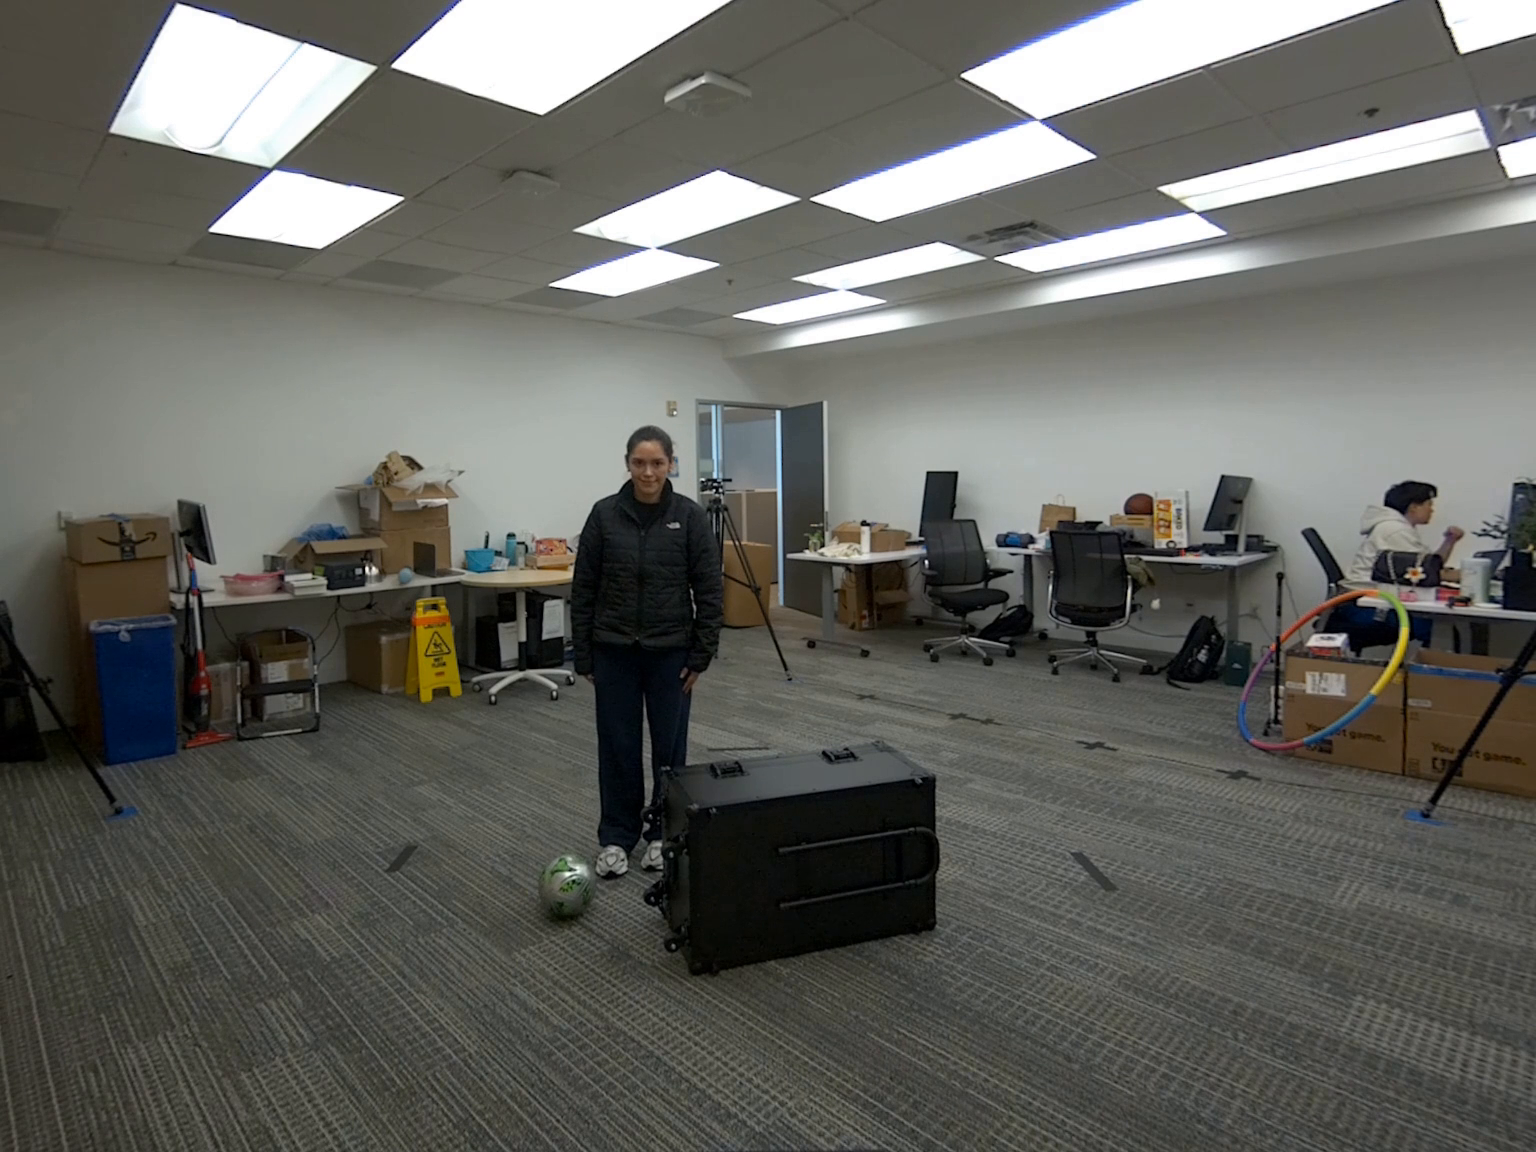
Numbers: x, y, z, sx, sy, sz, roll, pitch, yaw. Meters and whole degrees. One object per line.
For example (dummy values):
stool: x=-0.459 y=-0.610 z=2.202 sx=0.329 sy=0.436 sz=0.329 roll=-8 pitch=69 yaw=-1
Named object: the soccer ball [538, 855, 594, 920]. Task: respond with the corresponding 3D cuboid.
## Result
soccer ball: x=-0.647 y=1.003 z=2.767 sx=0.187 sy=0.187 sz=0.188 roll=-1 pitch=5 yaw=-2
